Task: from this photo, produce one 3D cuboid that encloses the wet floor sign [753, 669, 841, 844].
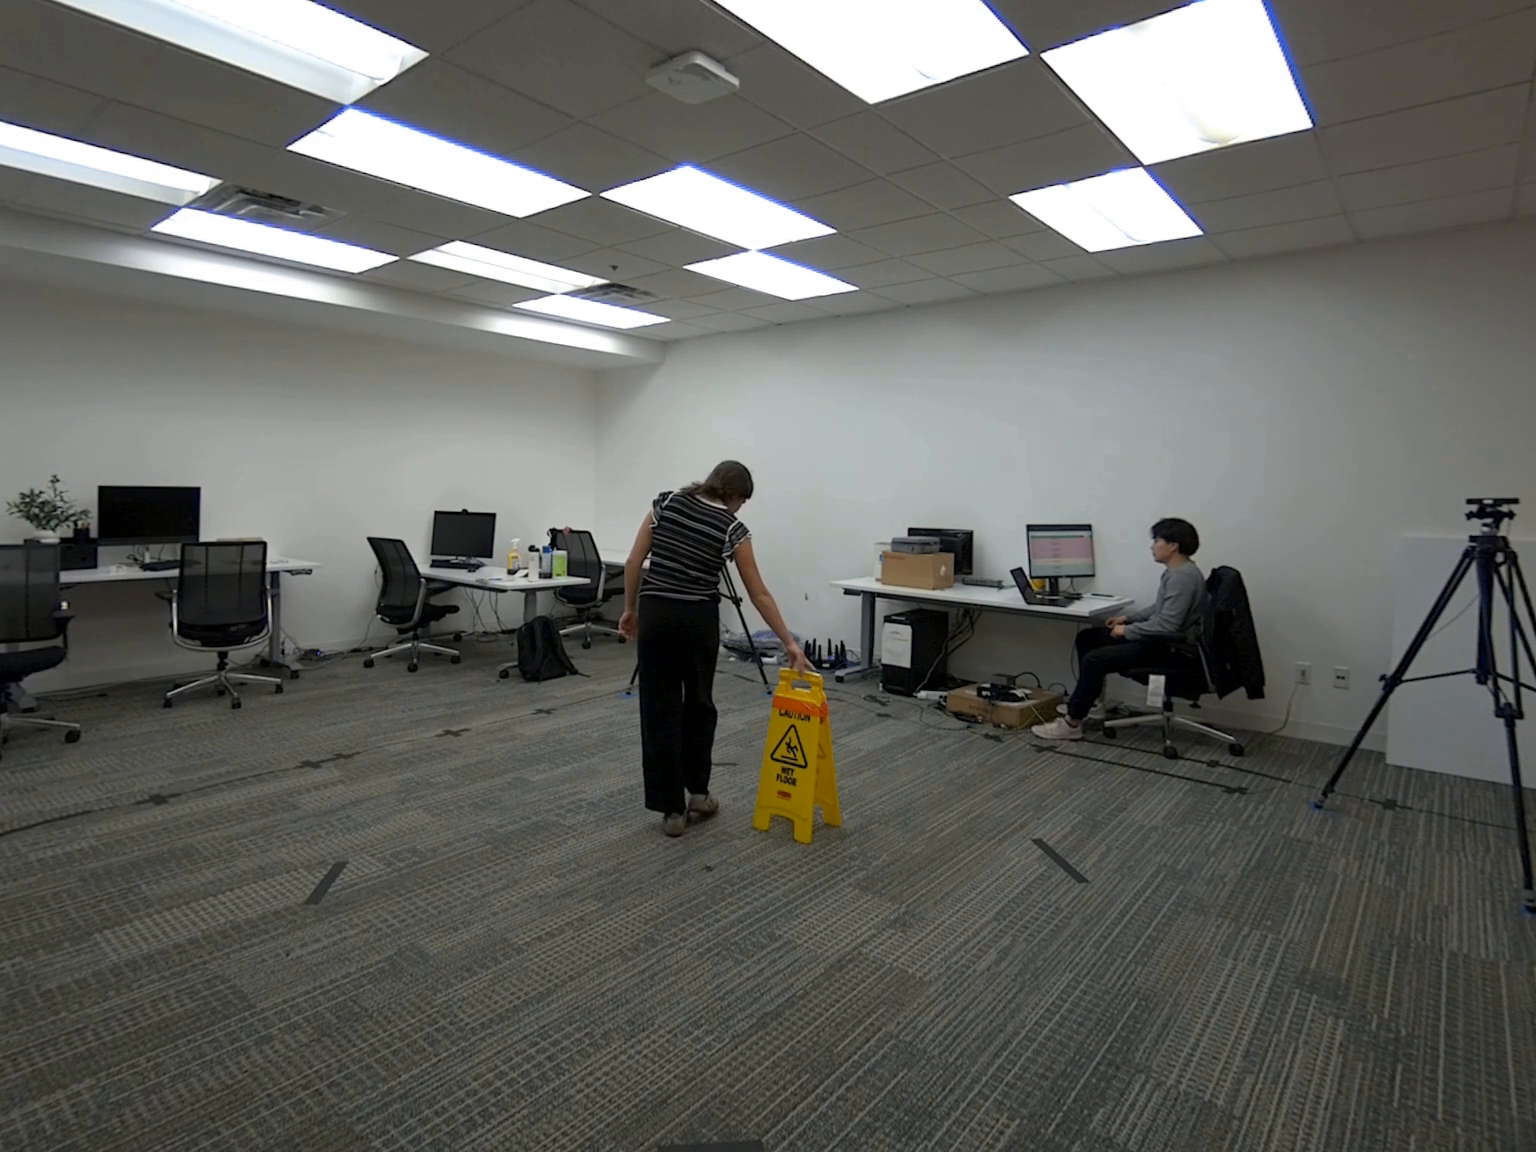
[{"bbox_3d":[0.119,0.710,3.510,0.291,0.645,0.281,4,3,35],"label":"wet floor sign"}]
